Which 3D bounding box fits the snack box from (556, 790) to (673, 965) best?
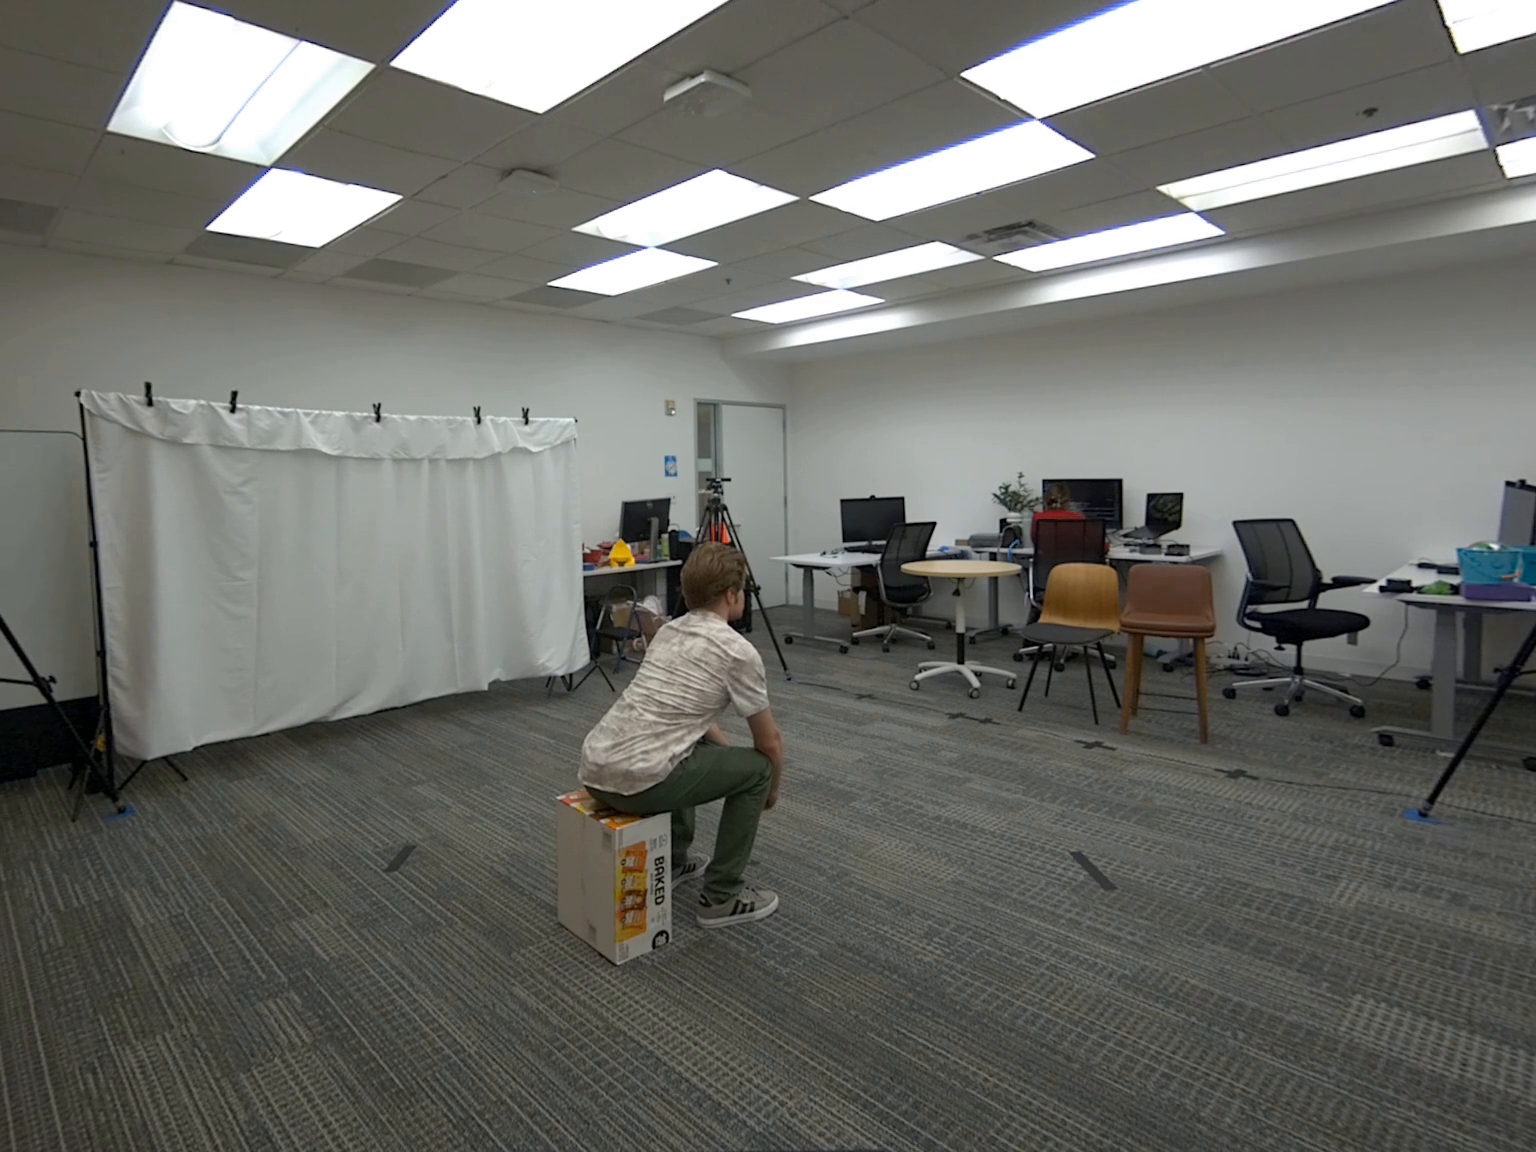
[{"bbox_3d":[-0.478,0.906,2.639,0.200,0.404,0.351,-3,6,-42],"label":"snack box"}]
